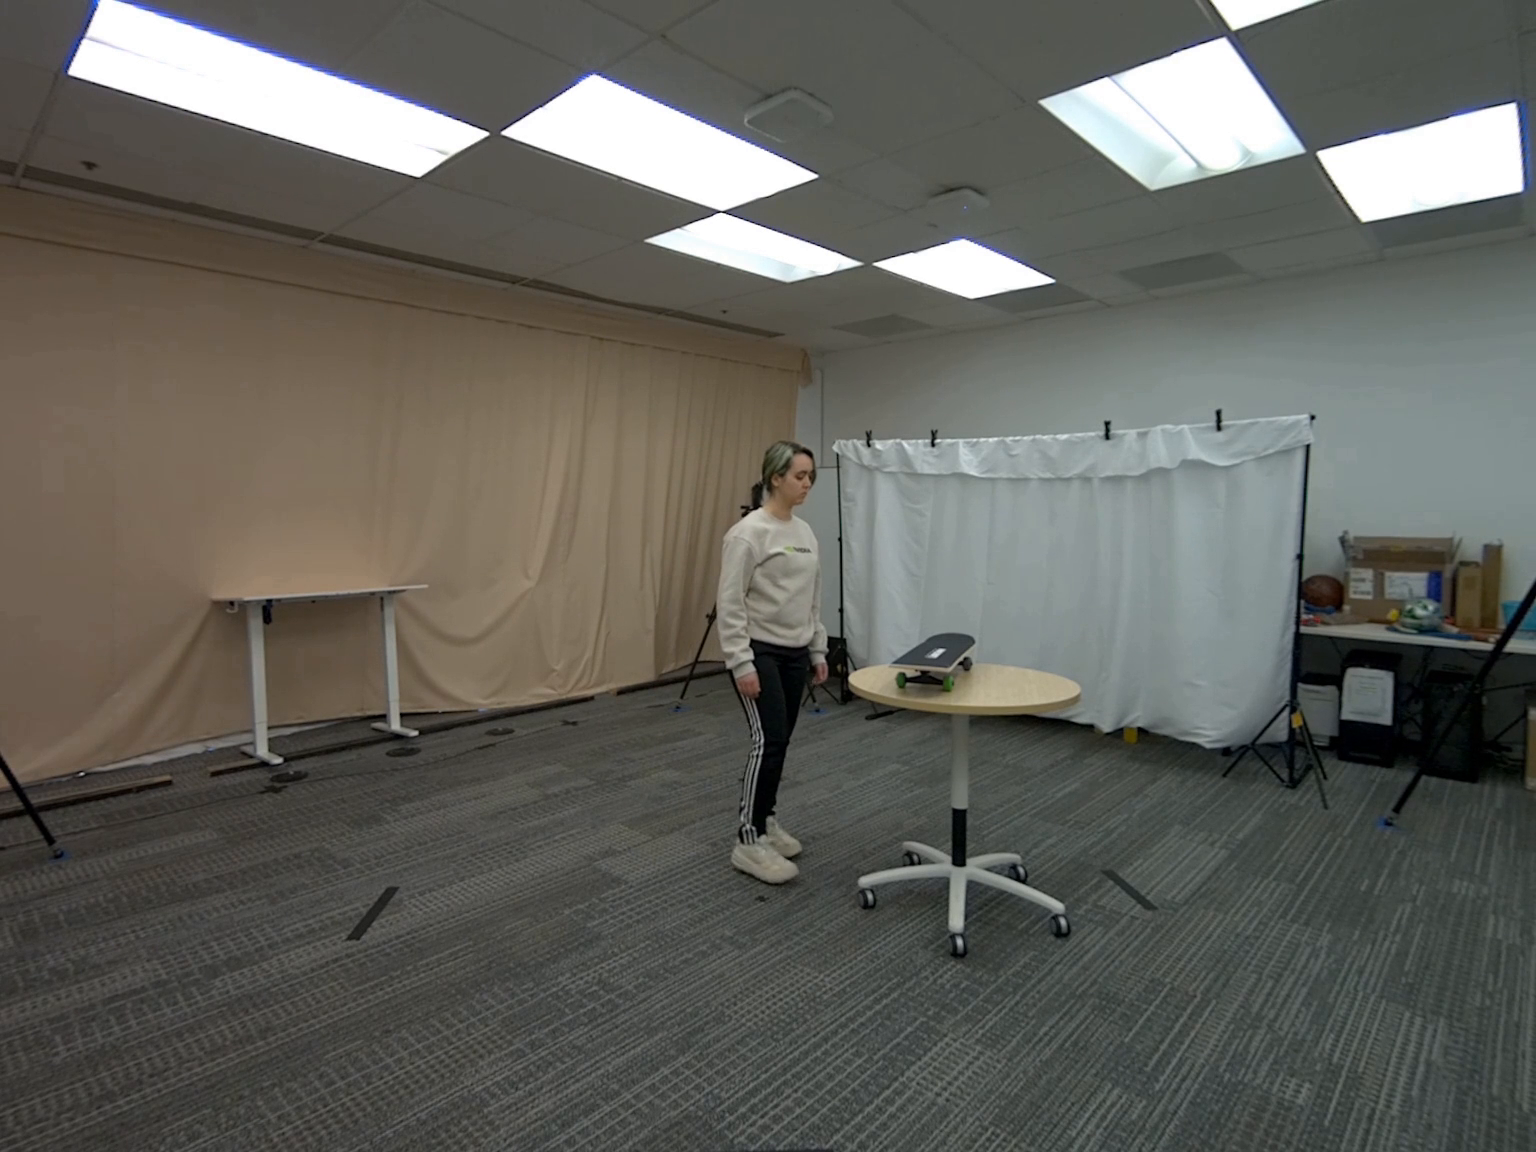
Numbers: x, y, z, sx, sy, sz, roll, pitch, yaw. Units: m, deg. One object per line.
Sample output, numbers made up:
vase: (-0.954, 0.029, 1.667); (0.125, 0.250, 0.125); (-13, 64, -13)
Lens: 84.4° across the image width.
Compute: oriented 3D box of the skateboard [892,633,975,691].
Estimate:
skateboard: (0.606, 0.313, 2.952); (0.198, 0.110, 0.768); (1, 4, 23)
